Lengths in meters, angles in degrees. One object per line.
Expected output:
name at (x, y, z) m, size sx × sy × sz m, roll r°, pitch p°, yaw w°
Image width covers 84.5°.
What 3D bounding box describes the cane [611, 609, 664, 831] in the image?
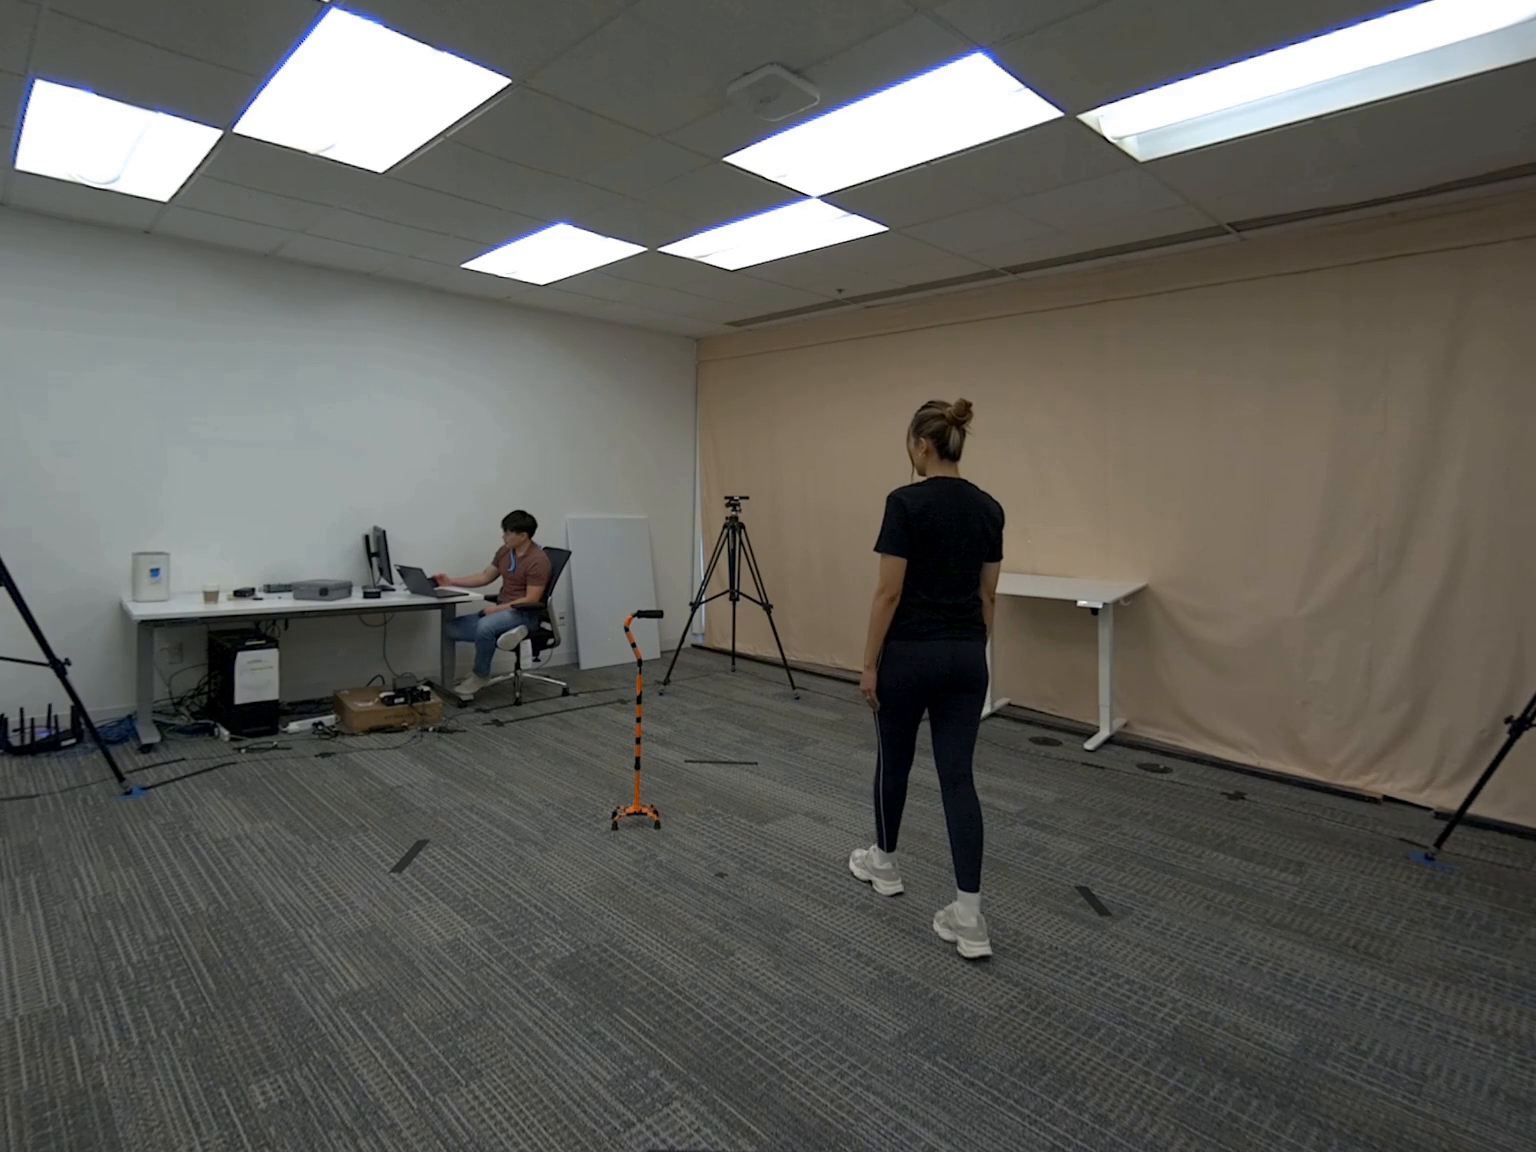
cane at (-0.559, 0.598, 3.560) m, size 0.204 × 0.906 × 0.153 m, roll 1°, pitch 3°, yaw -11°
